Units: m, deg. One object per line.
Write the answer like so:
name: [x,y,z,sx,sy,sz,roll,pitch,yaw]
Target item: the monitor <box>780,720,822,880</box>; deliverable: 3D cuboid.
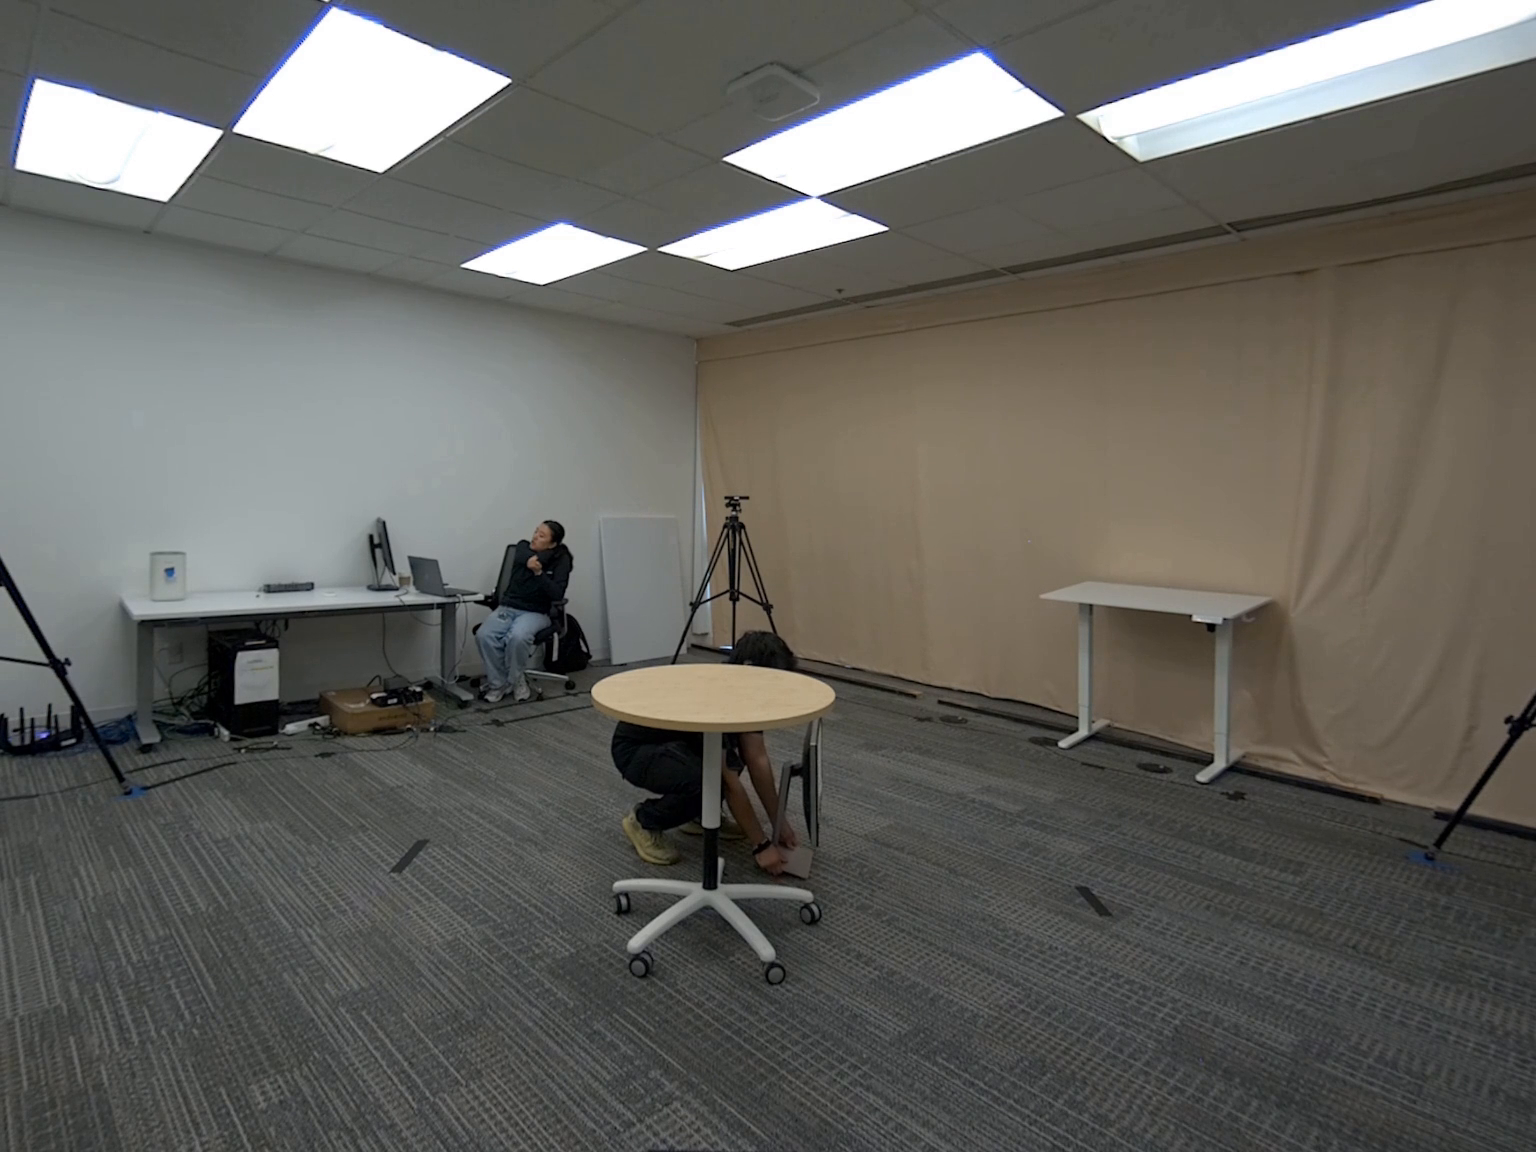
monitor: [0.092,0.811,3.198,0.211,0.552,0.565,6,6,4]
